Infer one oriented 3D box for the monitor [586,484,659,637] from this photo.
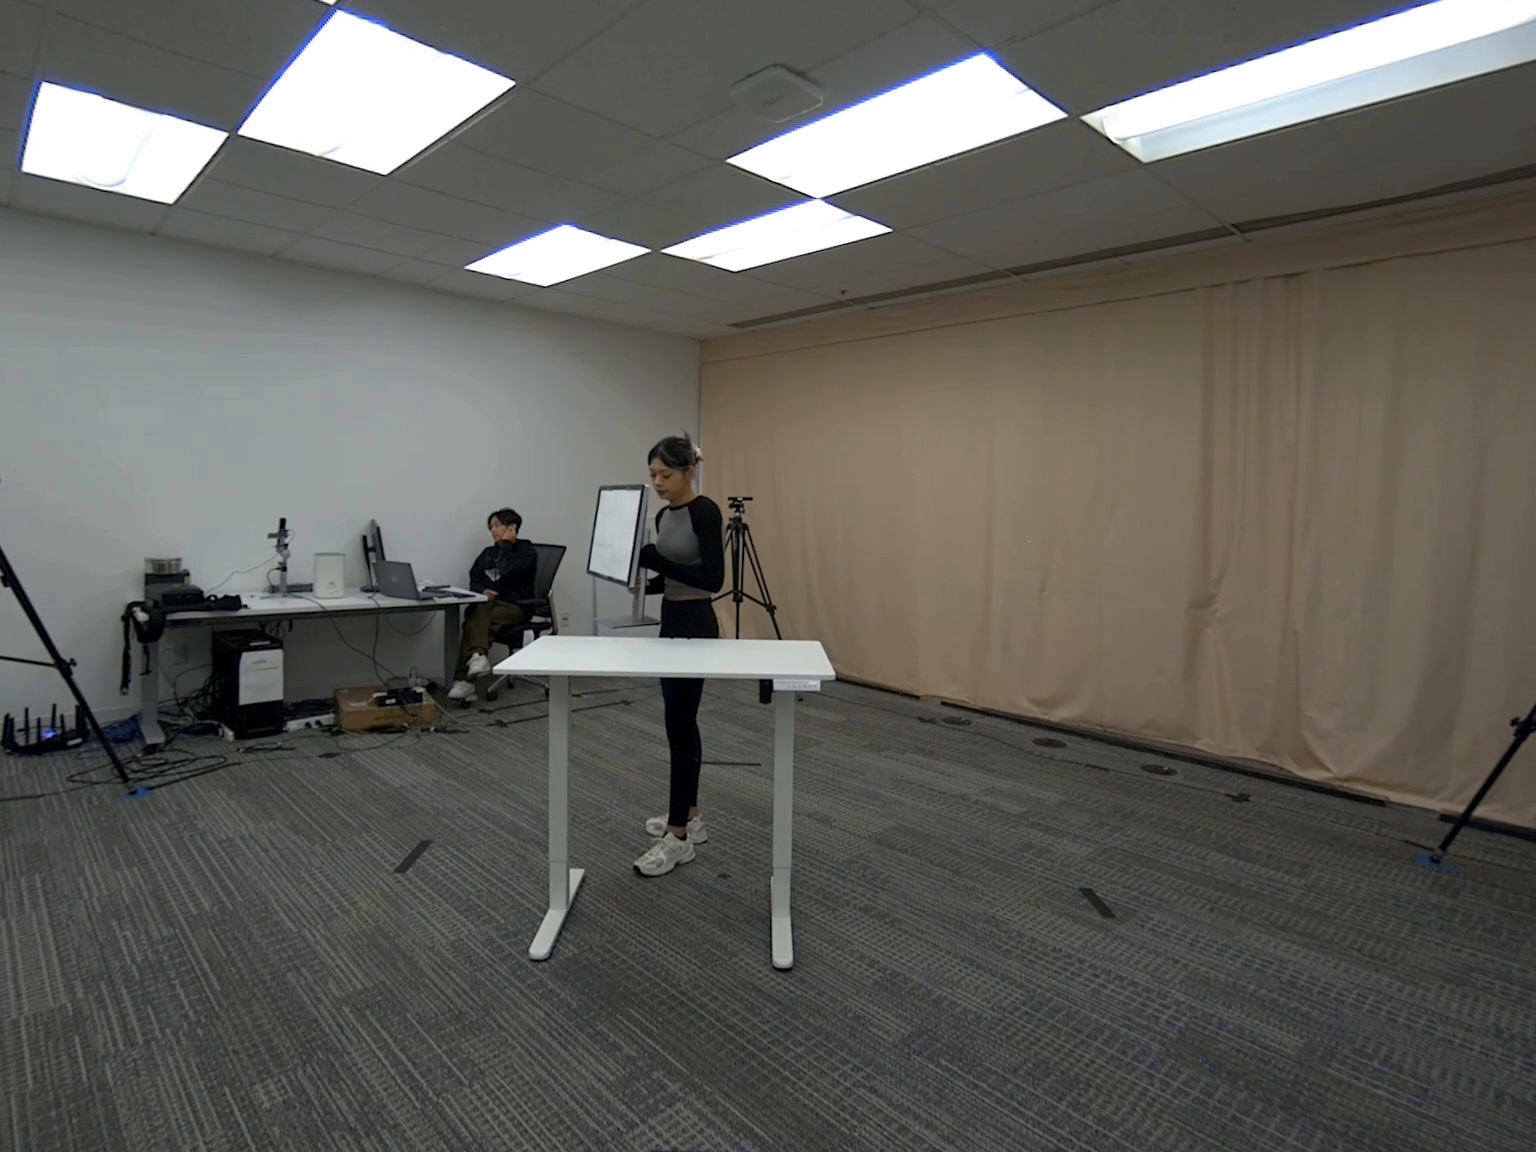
[{"bbox_3d":[-0.550,-0.077,3.214,0.184,0.521,0.551,-4,6,-28],"label":"monitor"}]
